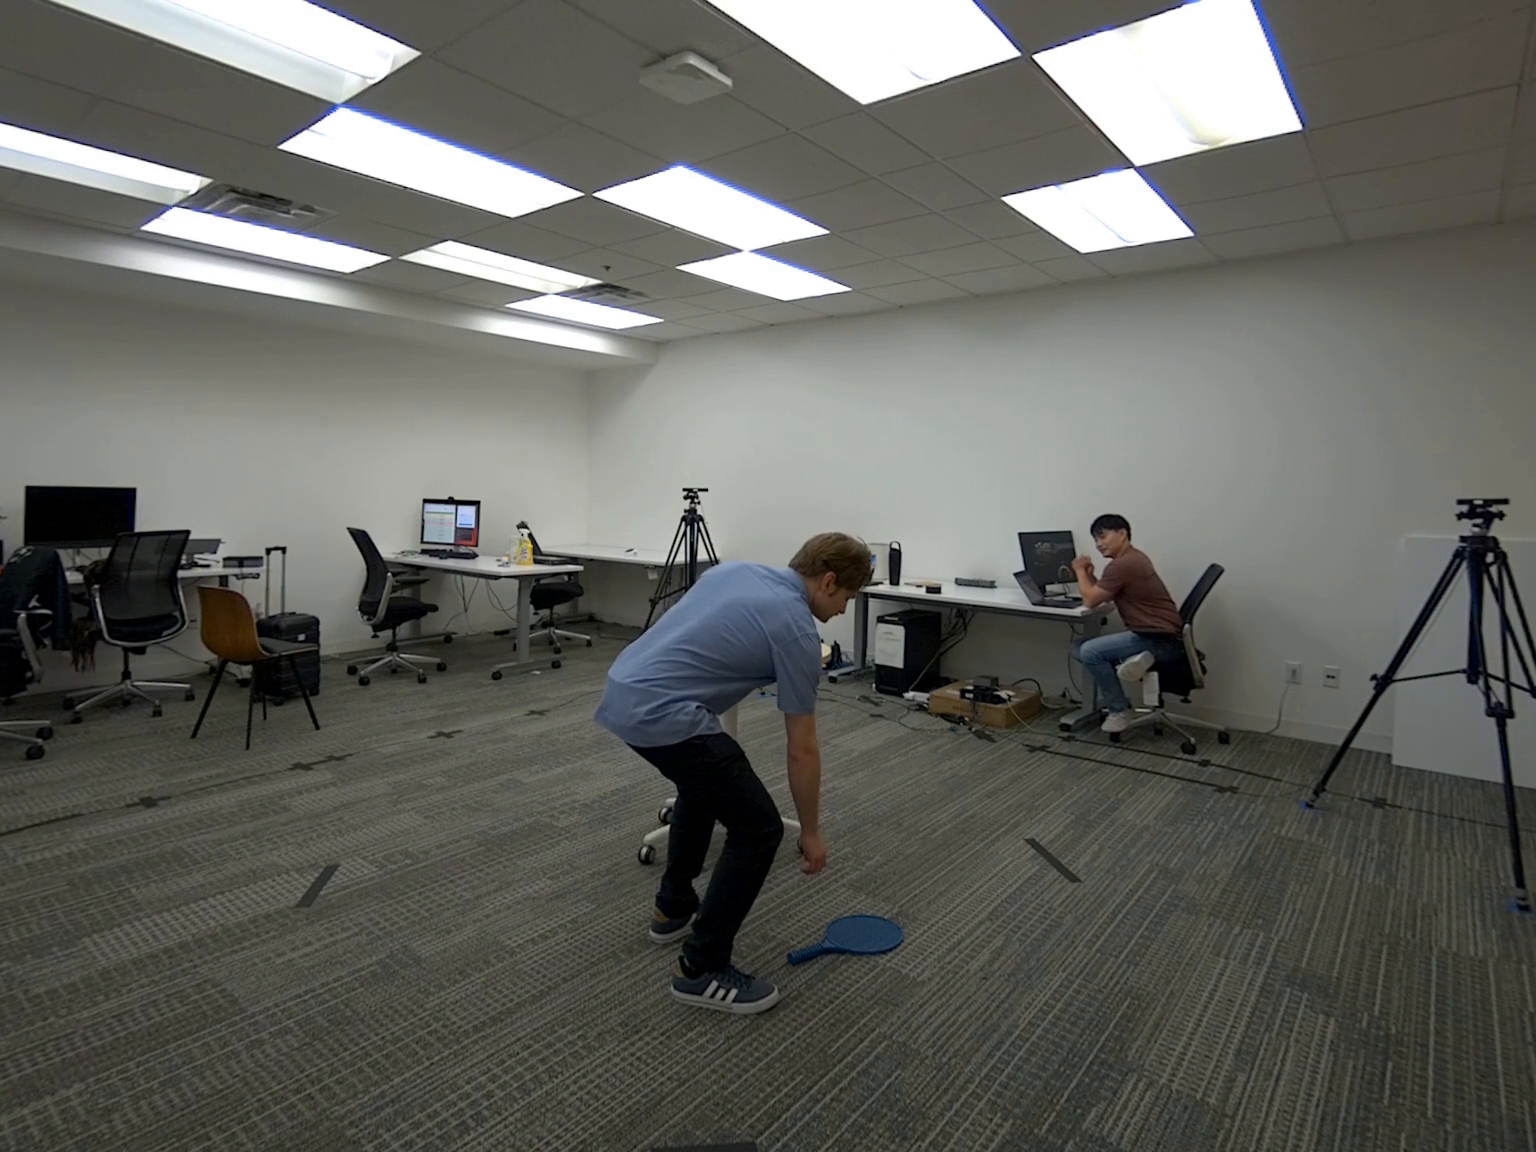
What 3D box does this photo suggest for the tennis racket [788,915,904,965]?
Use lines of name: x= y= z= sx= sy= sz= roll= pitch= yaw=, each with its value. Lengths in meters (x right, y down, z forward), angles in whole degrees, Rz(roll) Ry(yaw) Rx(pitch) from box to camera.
tennis racket: x=0.233 y=1.115 z=2.618 sx=0.420 sy=0.031 sz=0.221 roll=-2 pitch=6 yaw=-37
